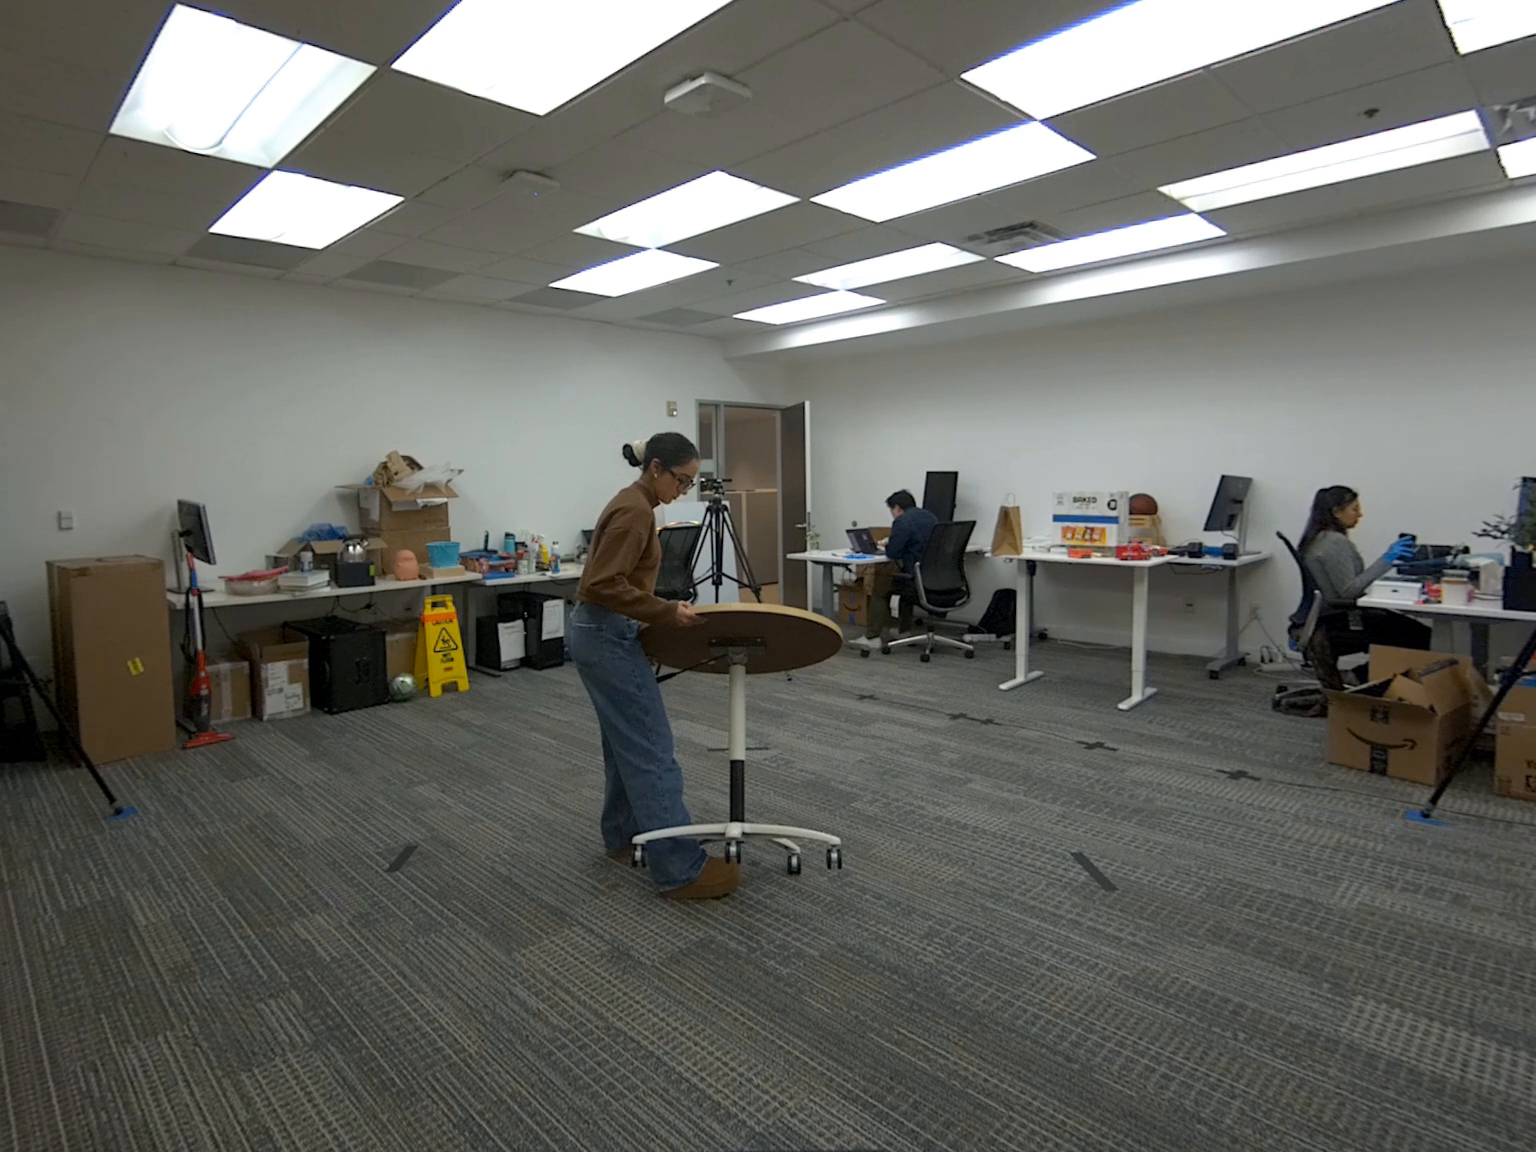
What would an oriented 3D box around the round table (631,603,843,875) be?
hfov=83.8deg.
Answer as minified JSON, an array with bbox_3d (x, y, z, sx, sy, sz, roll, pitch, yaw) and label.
[{"bbox_3d":[-0.102,0.598,2.960,0.763,0.810,0.749,1,-23,-1],"label":"round table"}]
